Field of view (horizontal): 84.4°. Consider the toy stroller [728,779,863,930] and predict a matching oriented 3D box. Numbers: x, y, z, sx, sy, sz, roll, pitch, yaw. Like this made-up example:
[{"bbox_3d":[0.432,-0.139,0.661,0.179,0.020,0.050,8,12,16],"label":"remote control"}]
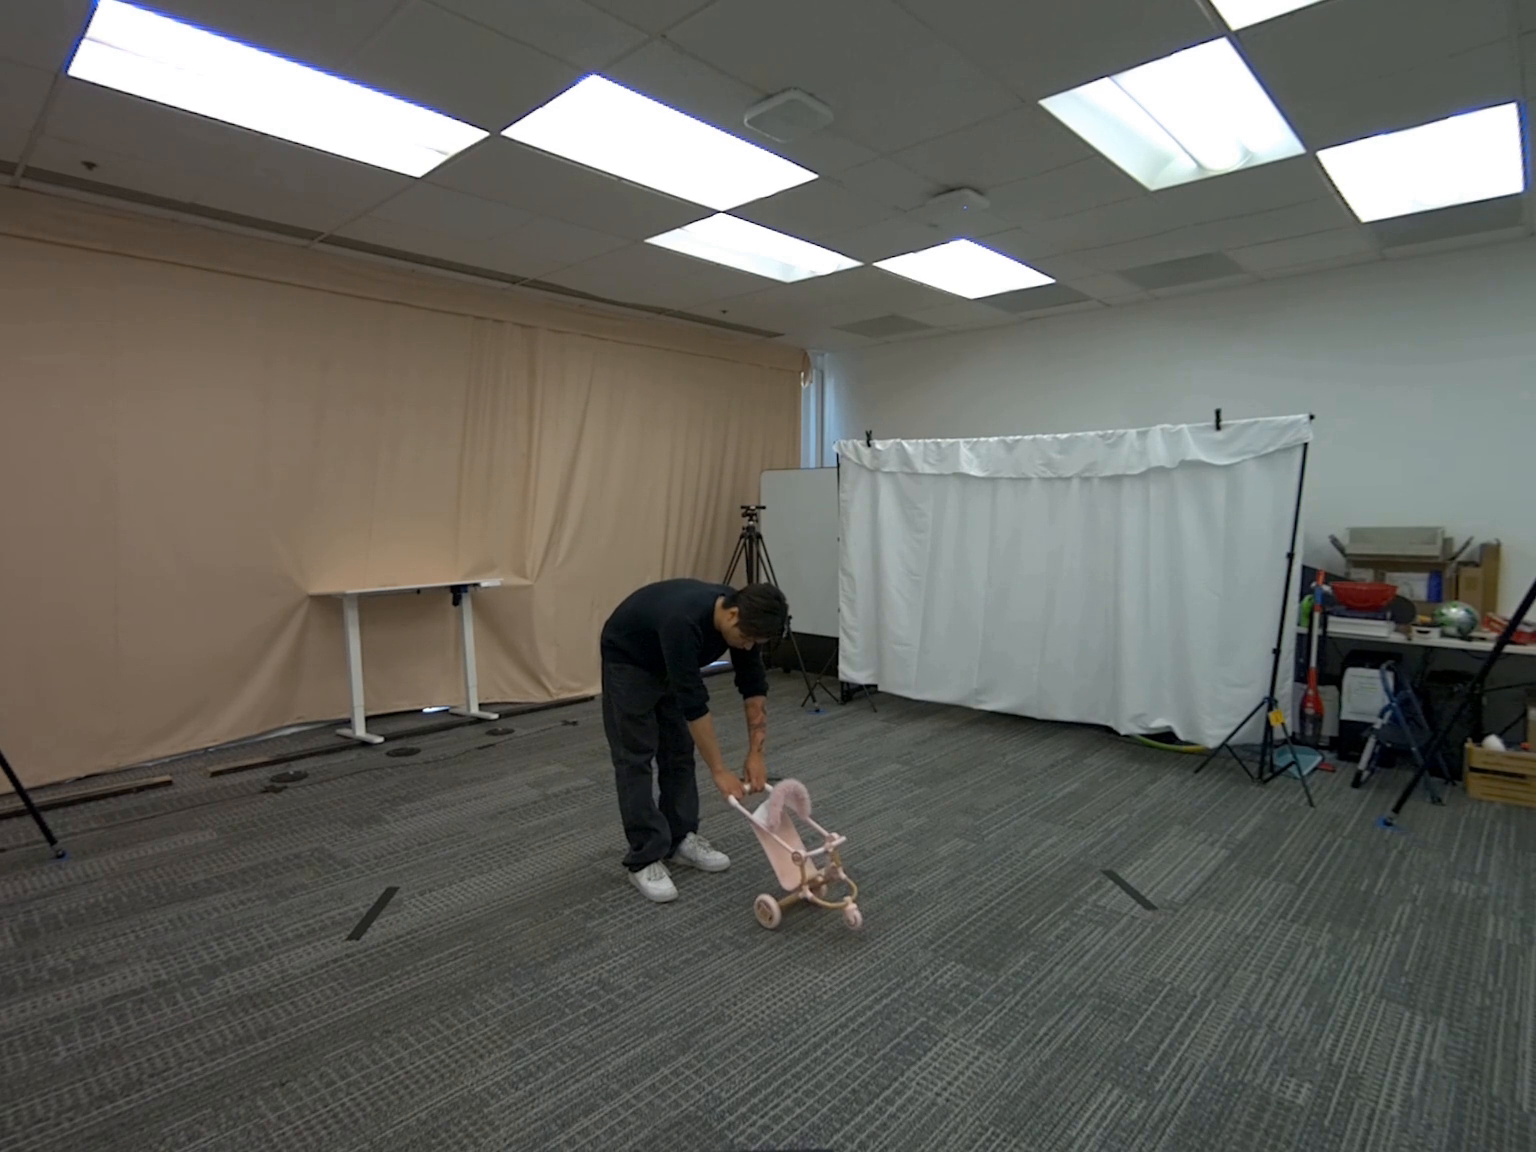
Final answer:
[{"bbox_3d":[0.106,0.927,2.831,0.273,0.542,0.347,-4,-20,-43],"label":"toy stroller"}]
